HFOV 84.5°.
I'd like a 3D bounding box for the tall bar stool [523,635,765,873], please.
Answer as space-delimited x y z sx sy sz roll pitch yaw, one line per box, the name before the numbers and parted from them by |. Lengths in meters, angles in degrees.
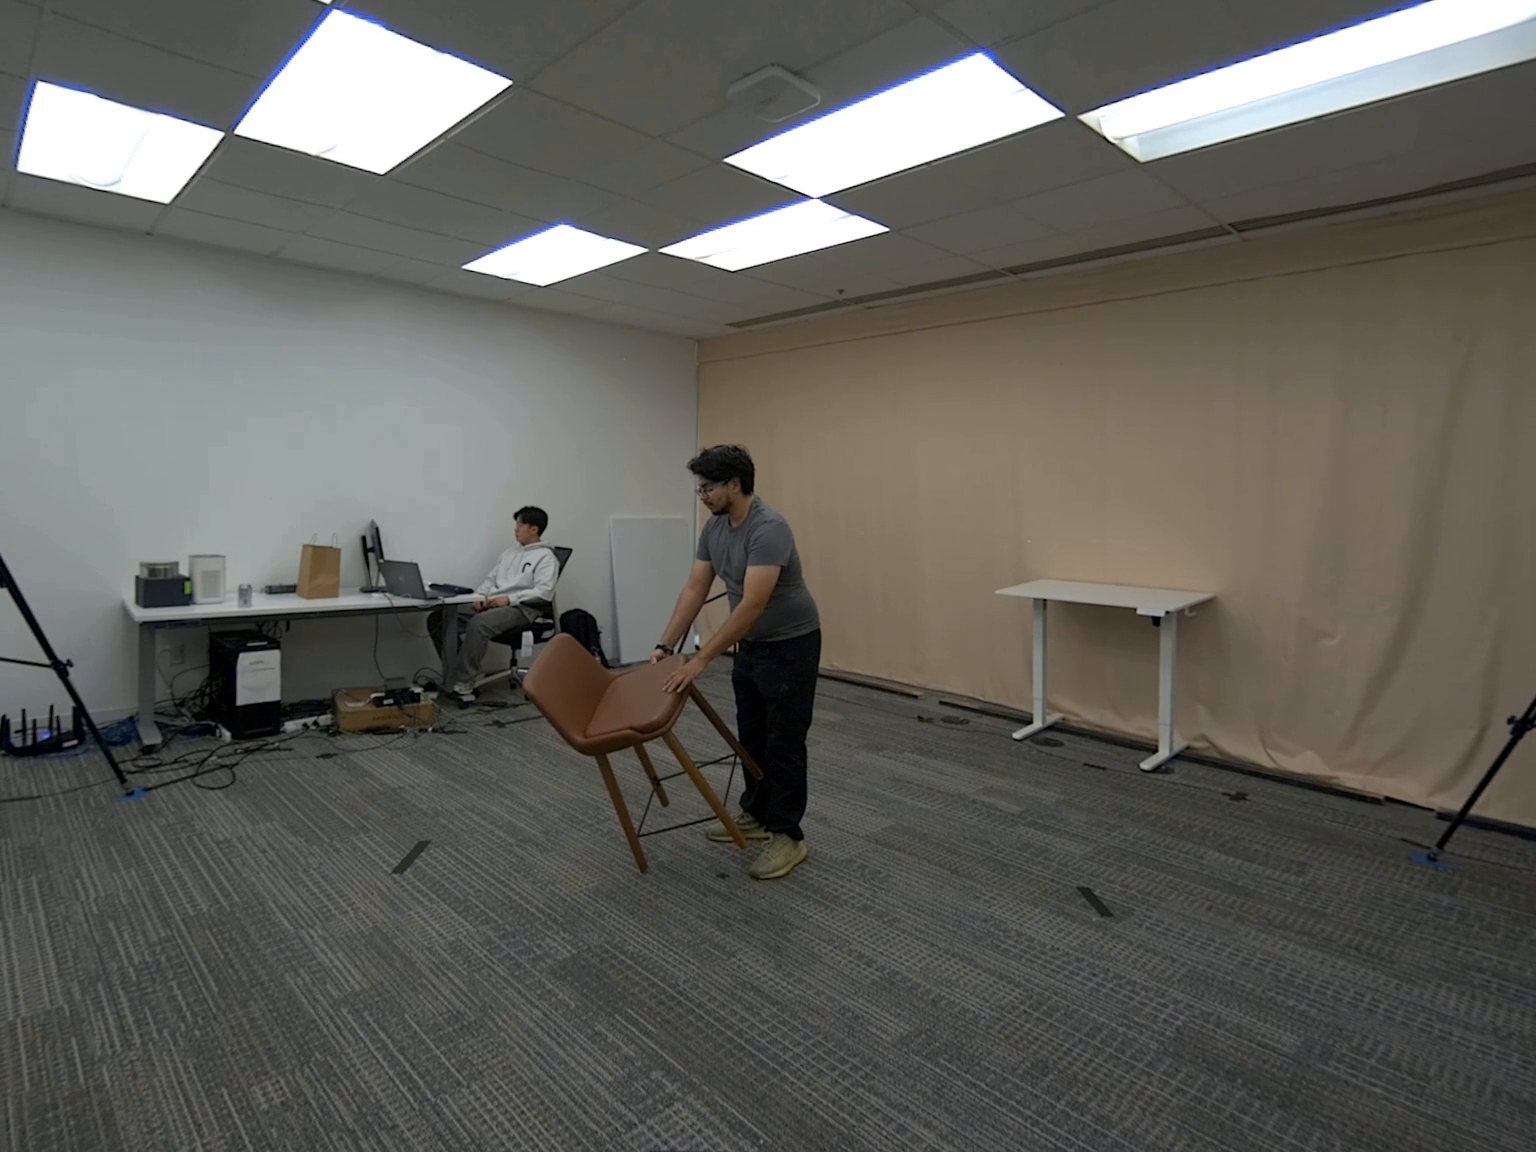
tall bar stool | -0.443 0.588 3.077 0.471 0.874 0.461 -22 19 18
